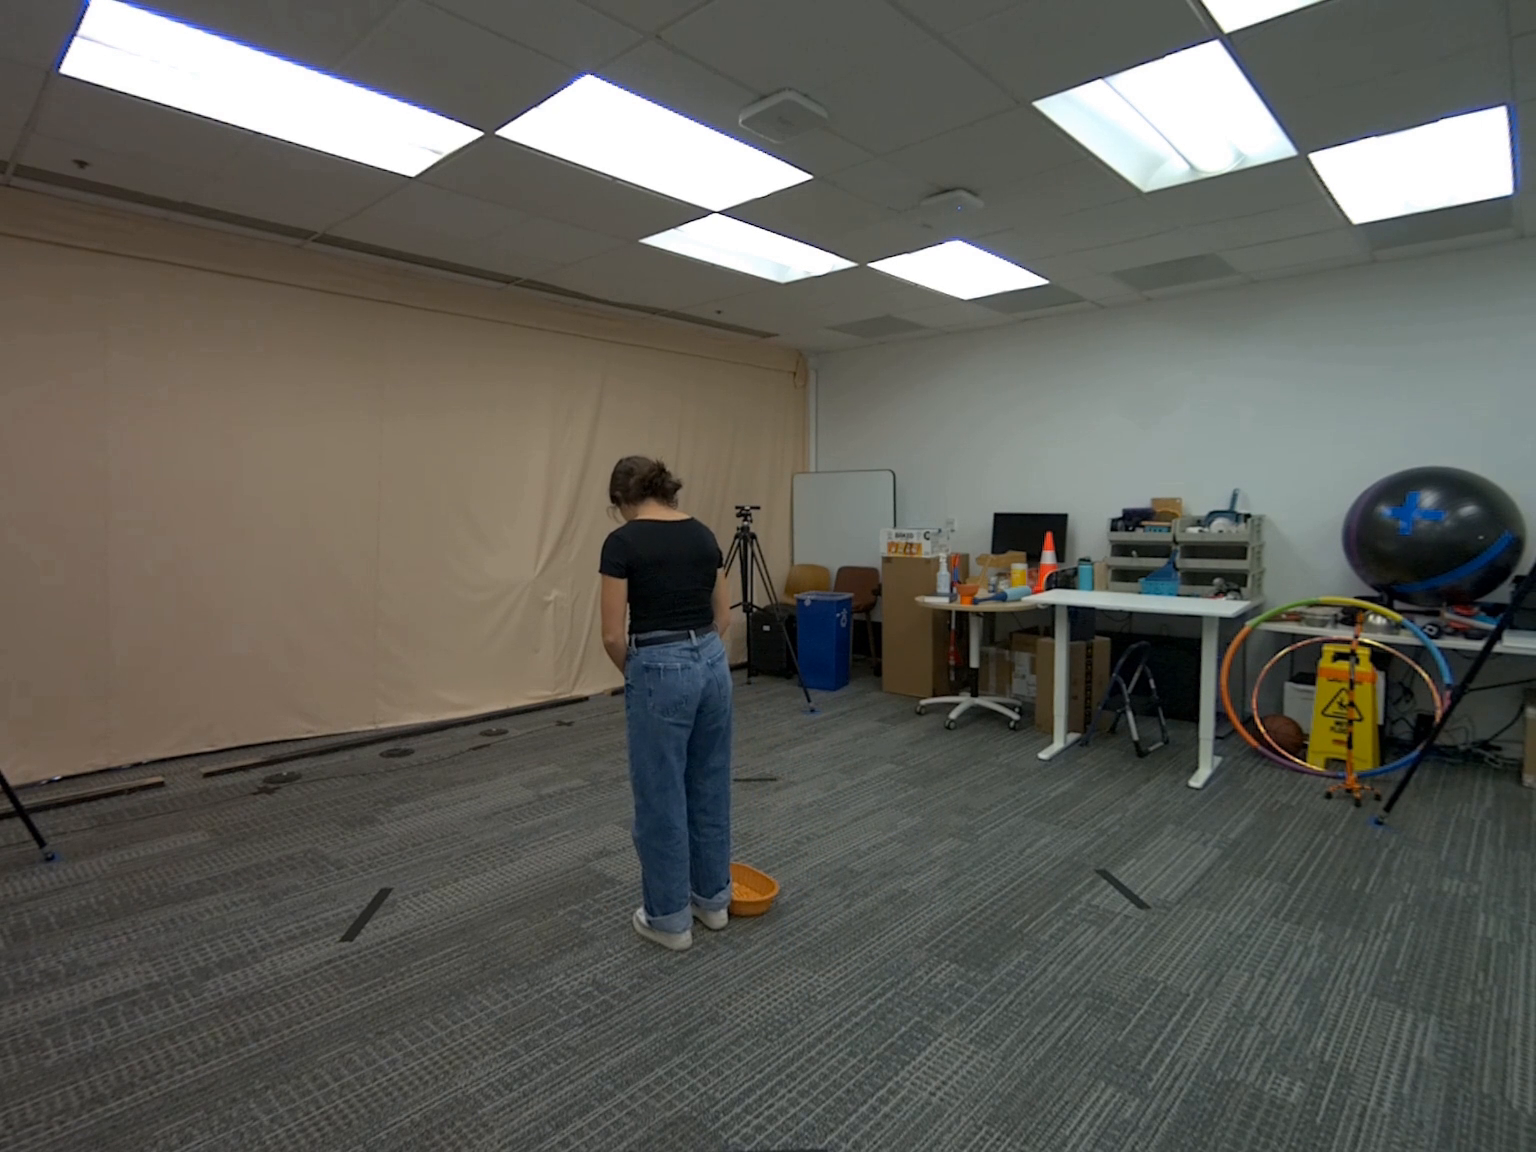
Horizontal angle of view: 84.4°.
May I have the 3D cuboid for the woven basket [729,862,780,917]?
[{"bbox_3d":[-0.122,1.103,2.963,0.245,0.073,0.362,-2,5,-38],"label":"woven basket"}]
